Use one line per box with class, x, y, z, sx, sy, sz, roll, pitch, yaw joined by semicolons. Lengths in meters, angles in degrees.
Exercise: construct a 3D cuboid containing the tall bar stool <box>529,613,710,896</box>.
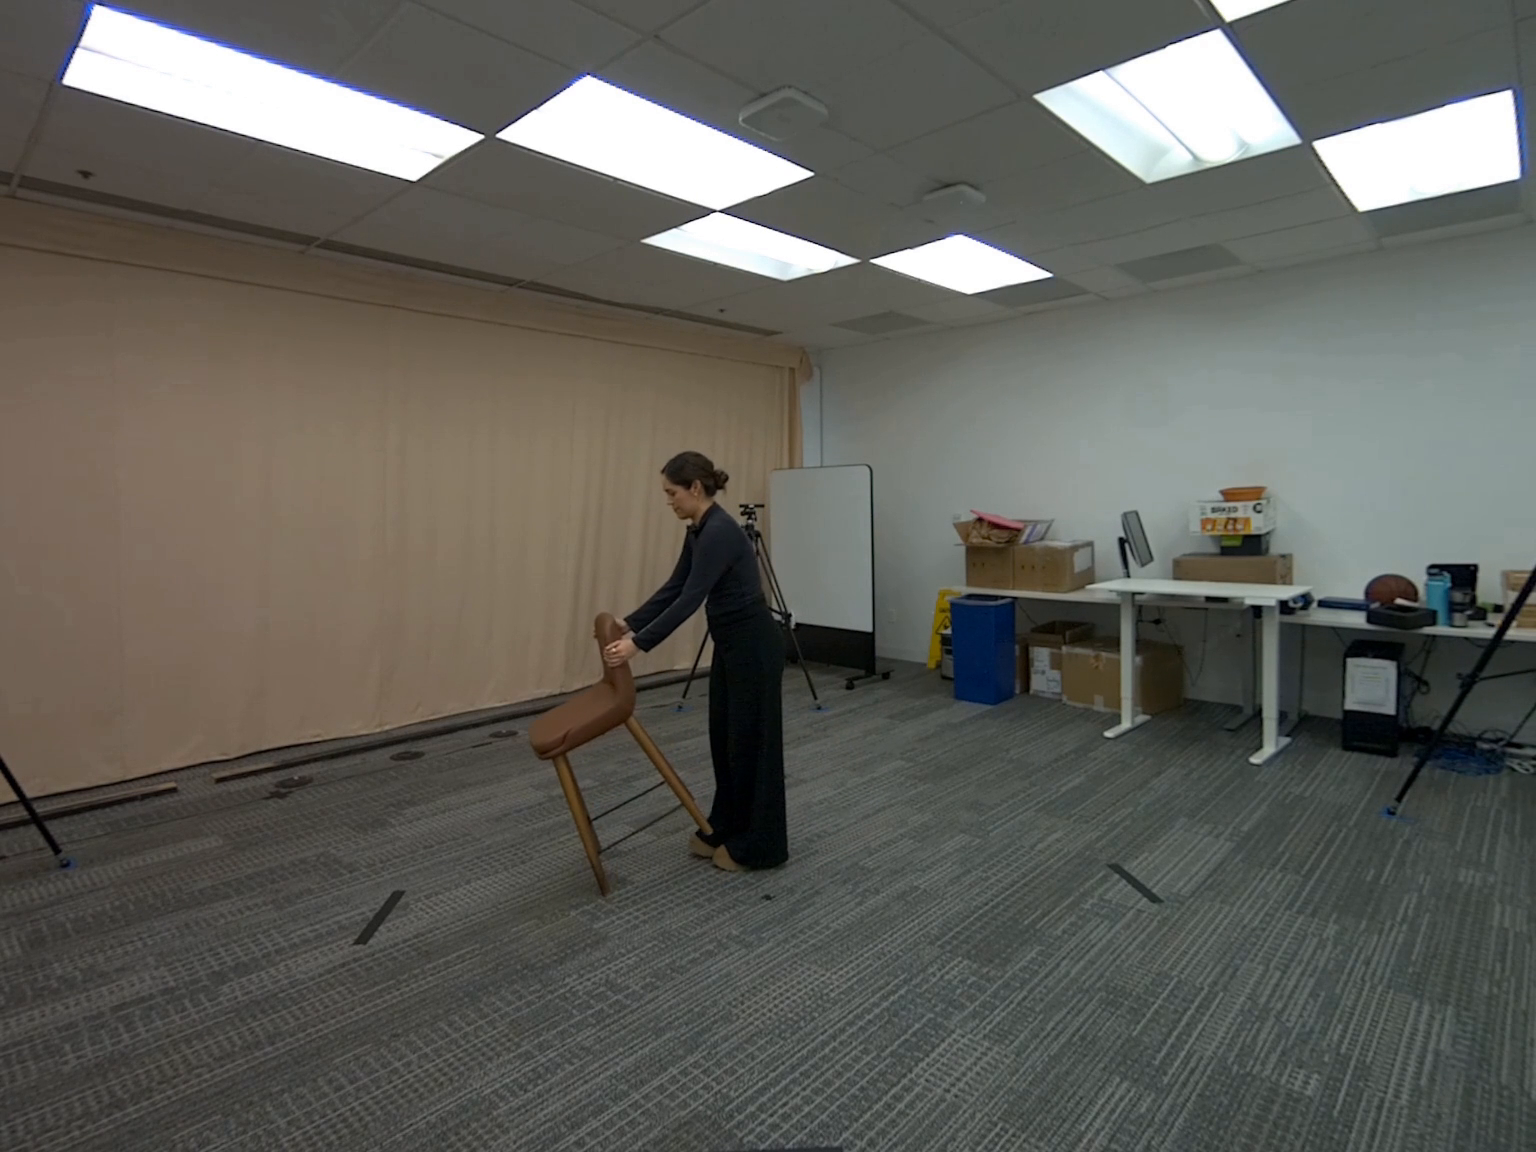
tall bar stool;-0.625;0.647;3.199;0.463;0.884;0.464;-24;7;-14
